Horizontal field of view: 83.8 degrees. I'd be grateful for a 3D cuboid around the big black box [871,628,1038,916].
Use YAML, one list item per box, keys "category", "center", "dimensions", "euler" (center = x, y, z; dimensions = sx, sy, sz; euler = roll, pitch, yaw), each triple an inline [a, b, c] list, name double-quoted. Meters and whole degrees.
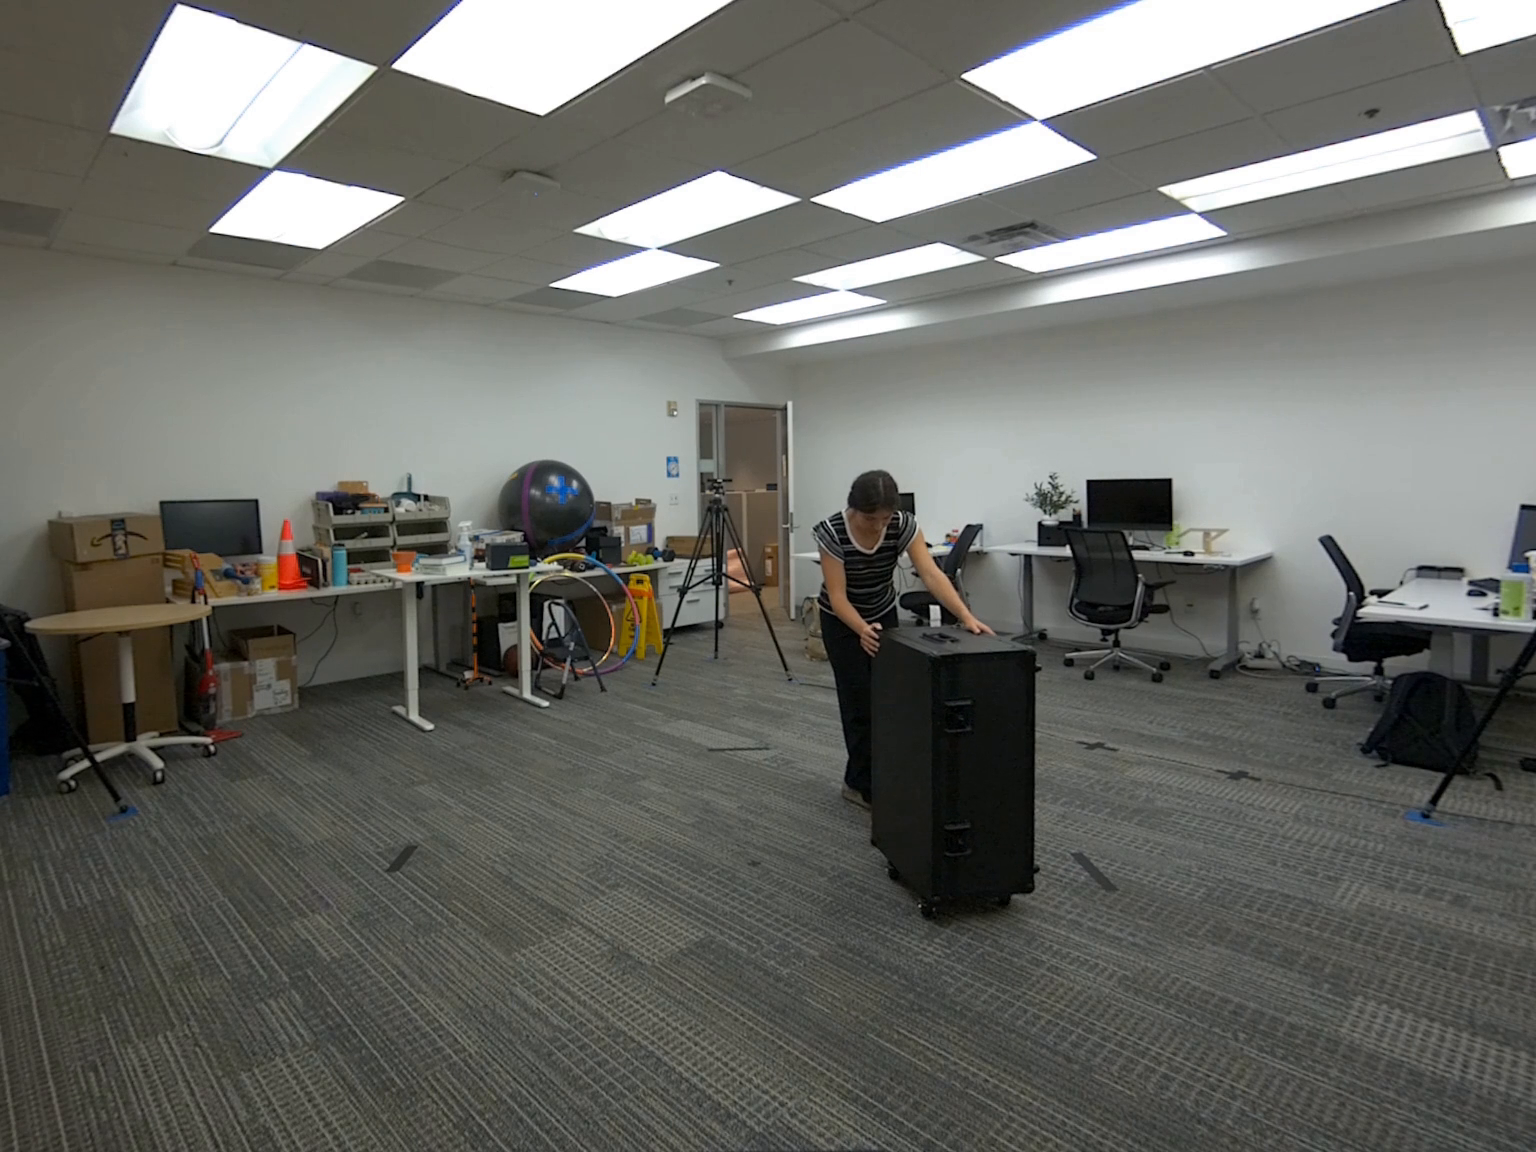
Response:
- category: "big black box"
  center: [0.614, 0.637, 2.888]
  dimensions: [0.391, 0.859, 0.530]
  euler: [-1, 3, -15]
